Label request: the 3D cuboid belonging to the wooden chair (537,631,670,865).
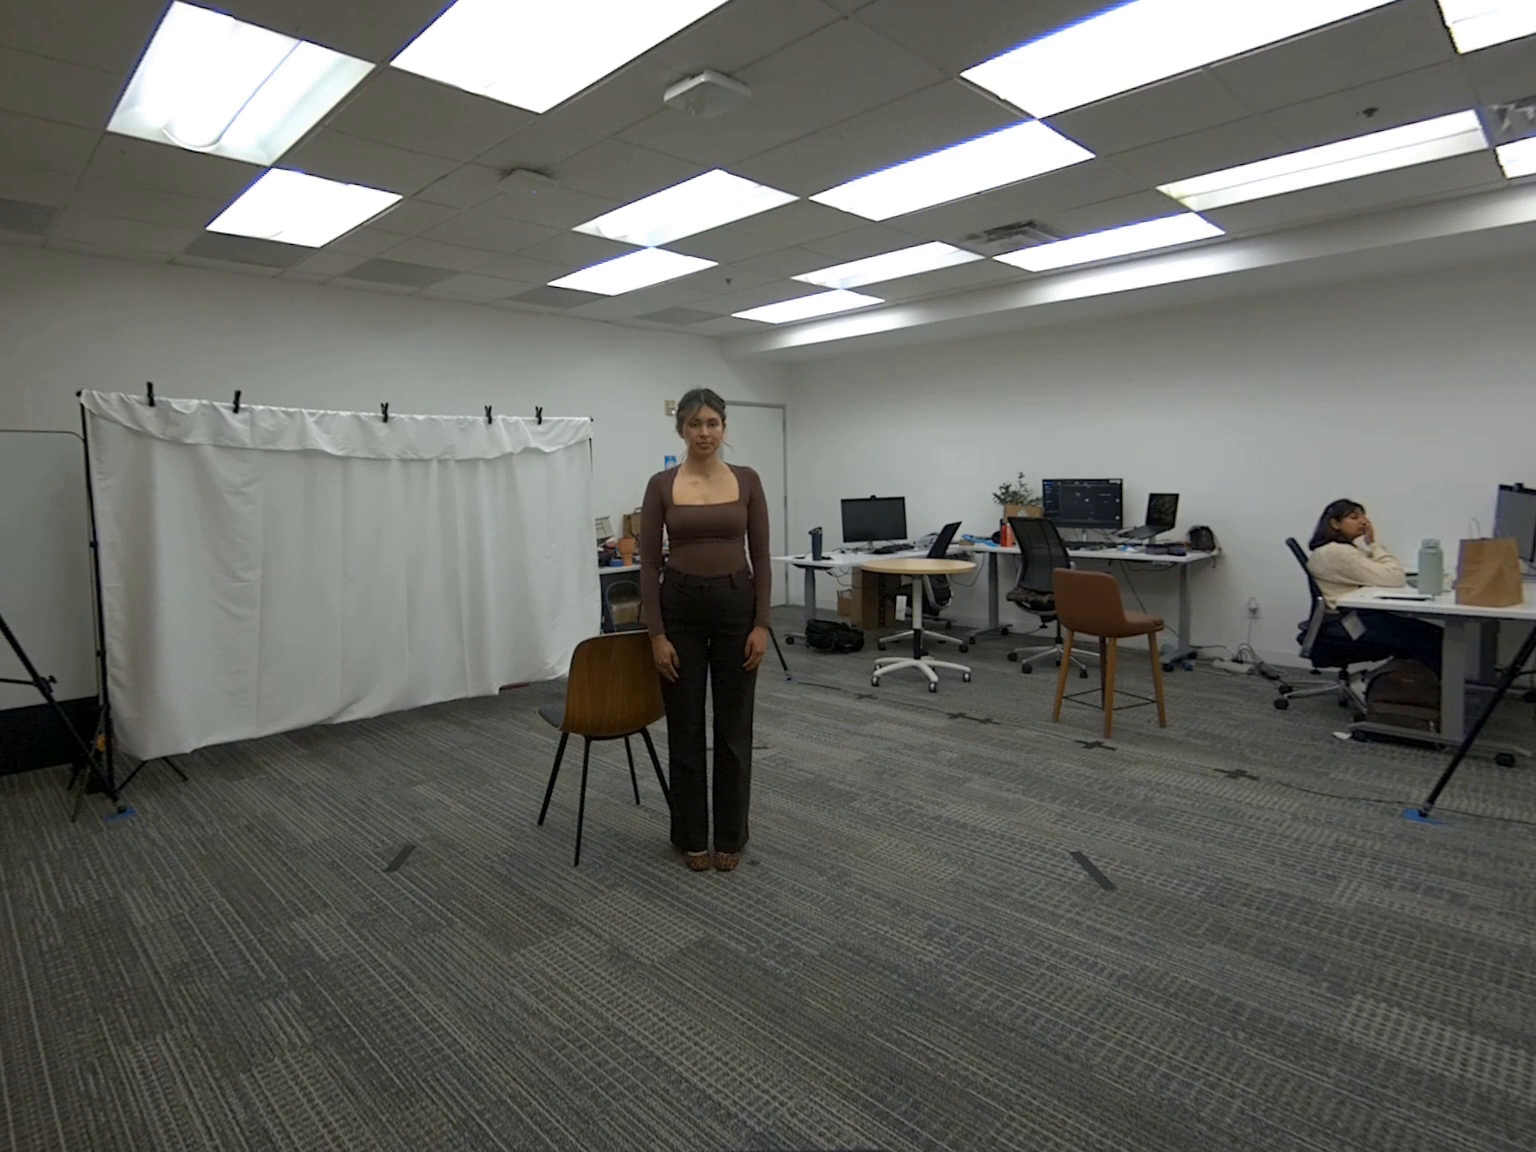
[{"bbox_3d":[-0.642,0.597,3.376,0.467,0.871,0.539,-4,9,-30],"label":"wooden chair"}]
